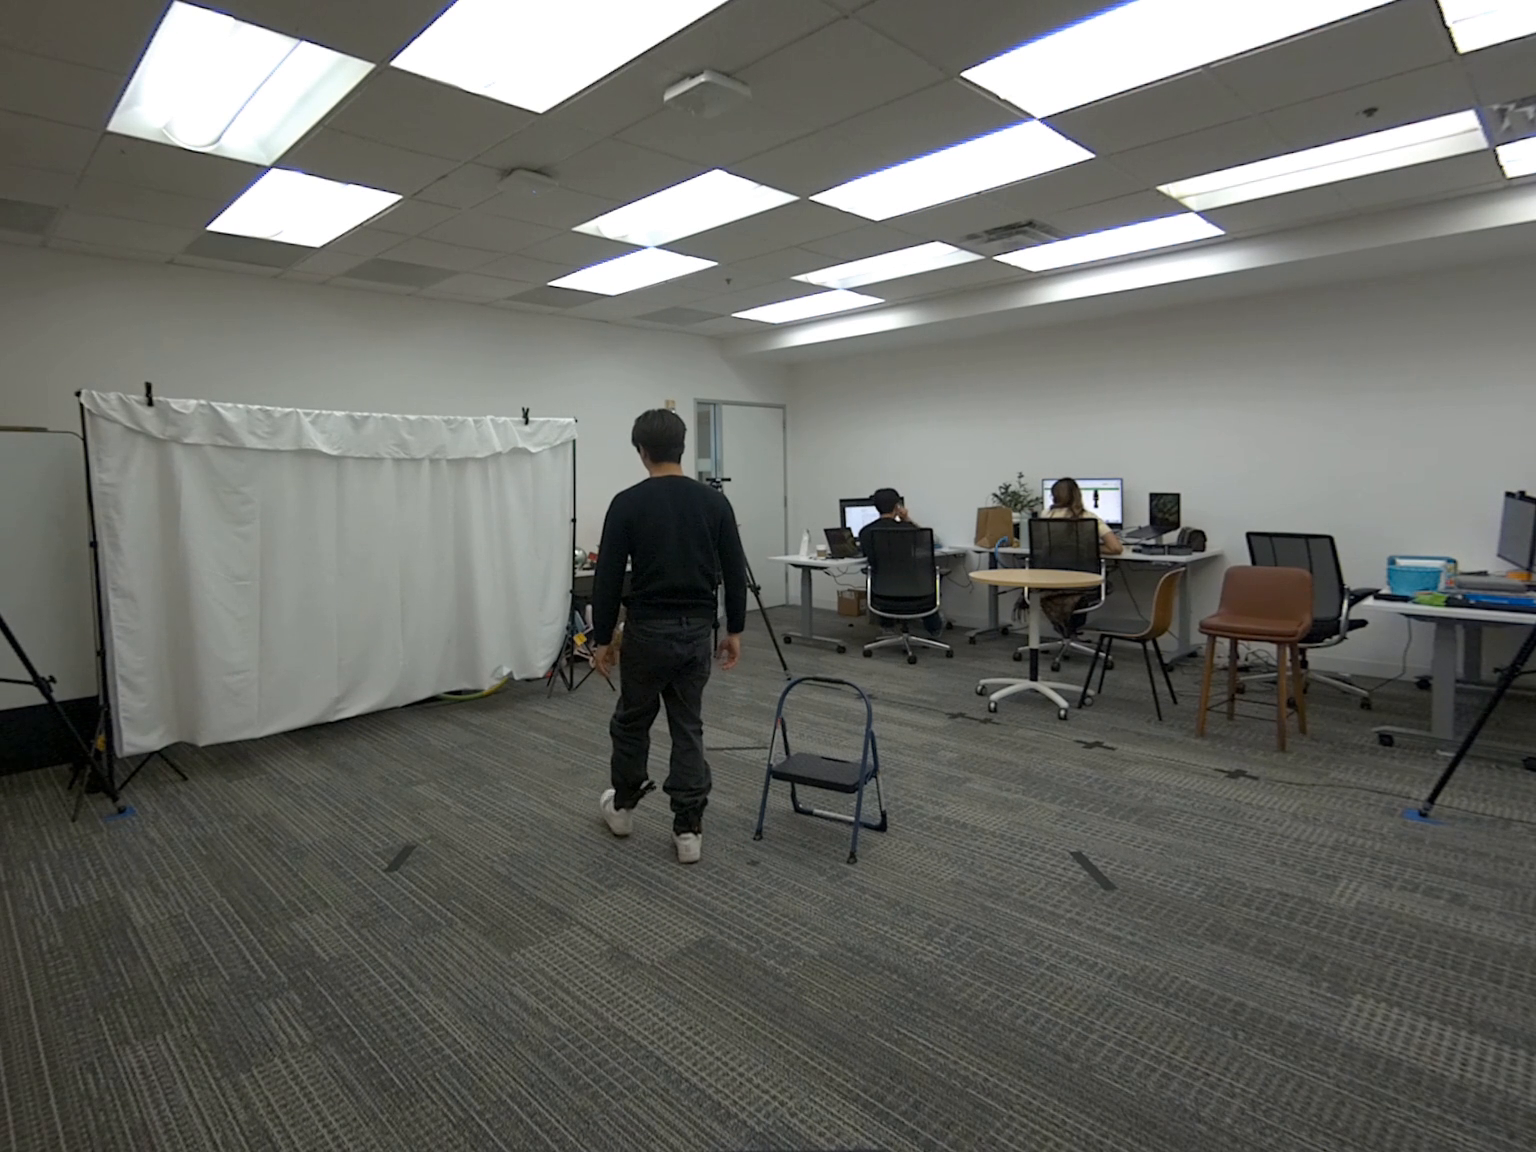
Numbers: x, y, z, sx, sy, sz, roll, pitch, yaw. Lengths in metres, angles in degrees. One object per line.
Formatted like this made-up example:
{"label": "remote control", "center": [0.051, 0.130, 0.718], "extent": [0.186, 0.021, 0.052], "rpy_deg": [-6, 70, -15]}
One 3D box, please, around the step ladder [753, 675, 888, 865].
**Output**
{"label": "step ladder", "center": [0.207, 0.707, 3.317], "extent": [0.442, 0.603, 0.341], "rpy_deg": [2, 6, 31]}
